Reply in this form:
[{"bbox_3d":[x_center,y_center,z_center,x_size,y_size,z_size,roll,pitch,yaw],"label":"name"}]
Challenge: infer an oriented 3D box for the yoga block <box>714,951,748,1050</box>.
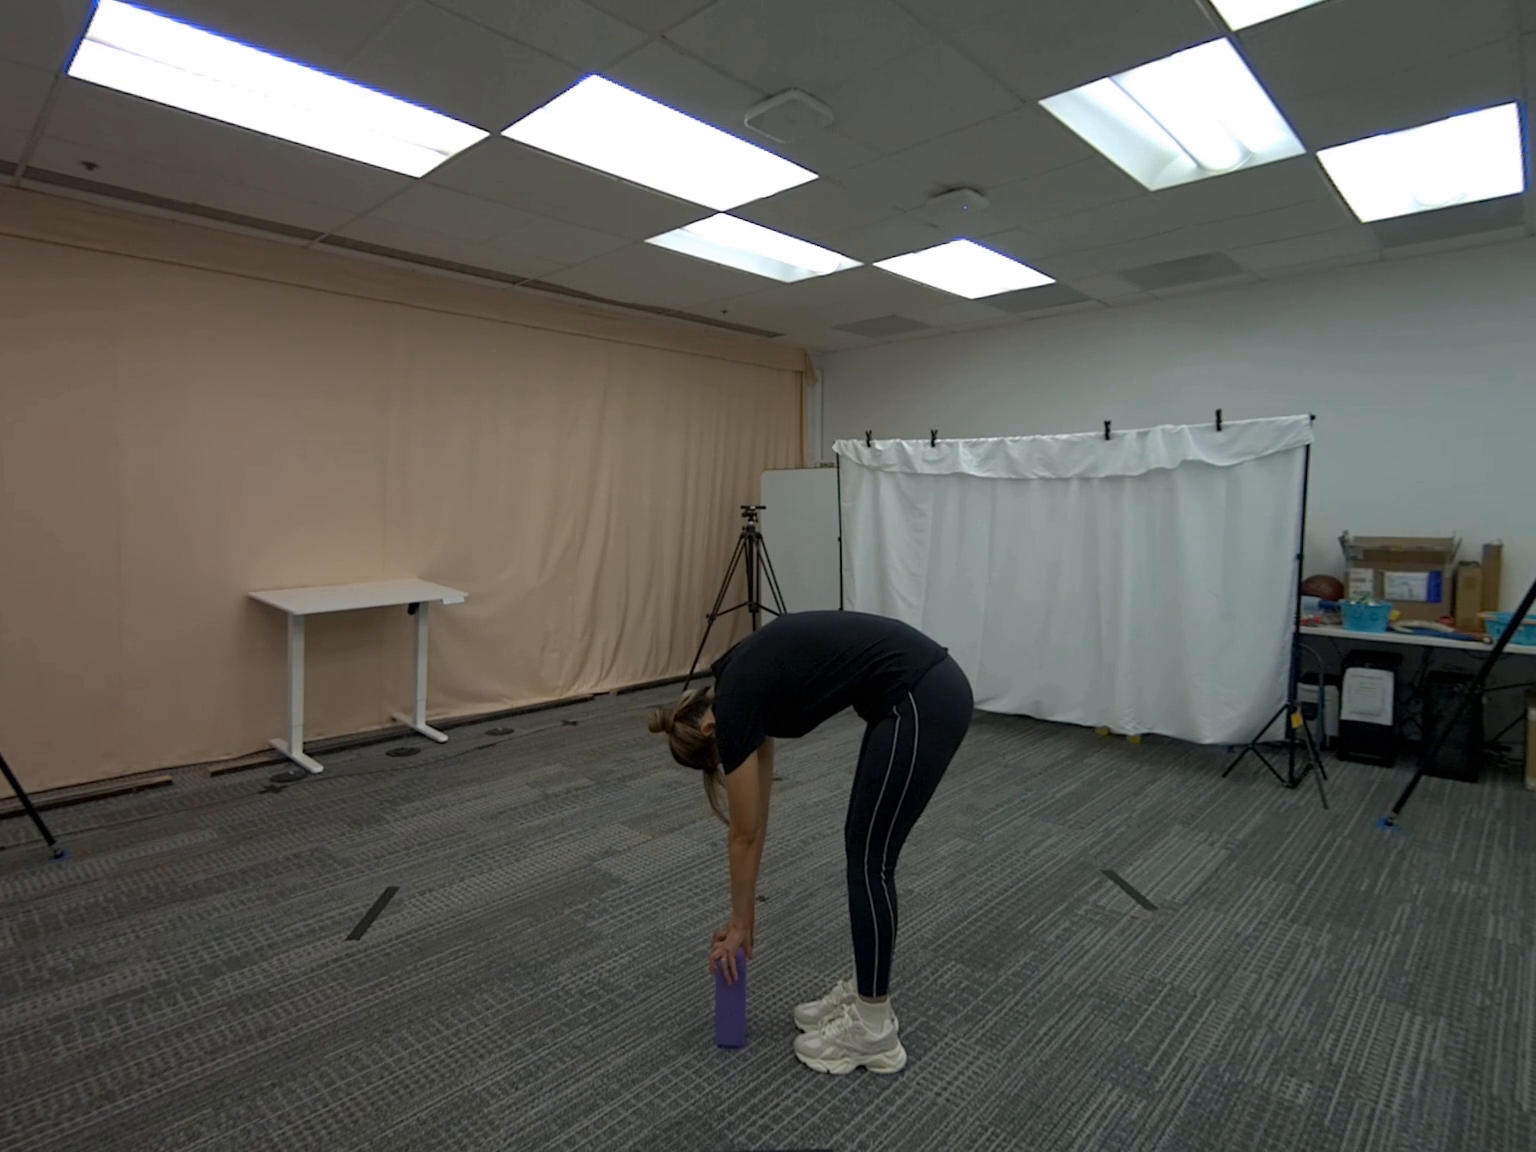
[{"bbox_3d":[-0.097,1.099,2.223,0.076,0.229,0.149,1,2,0],"label":"yoga block"}]
